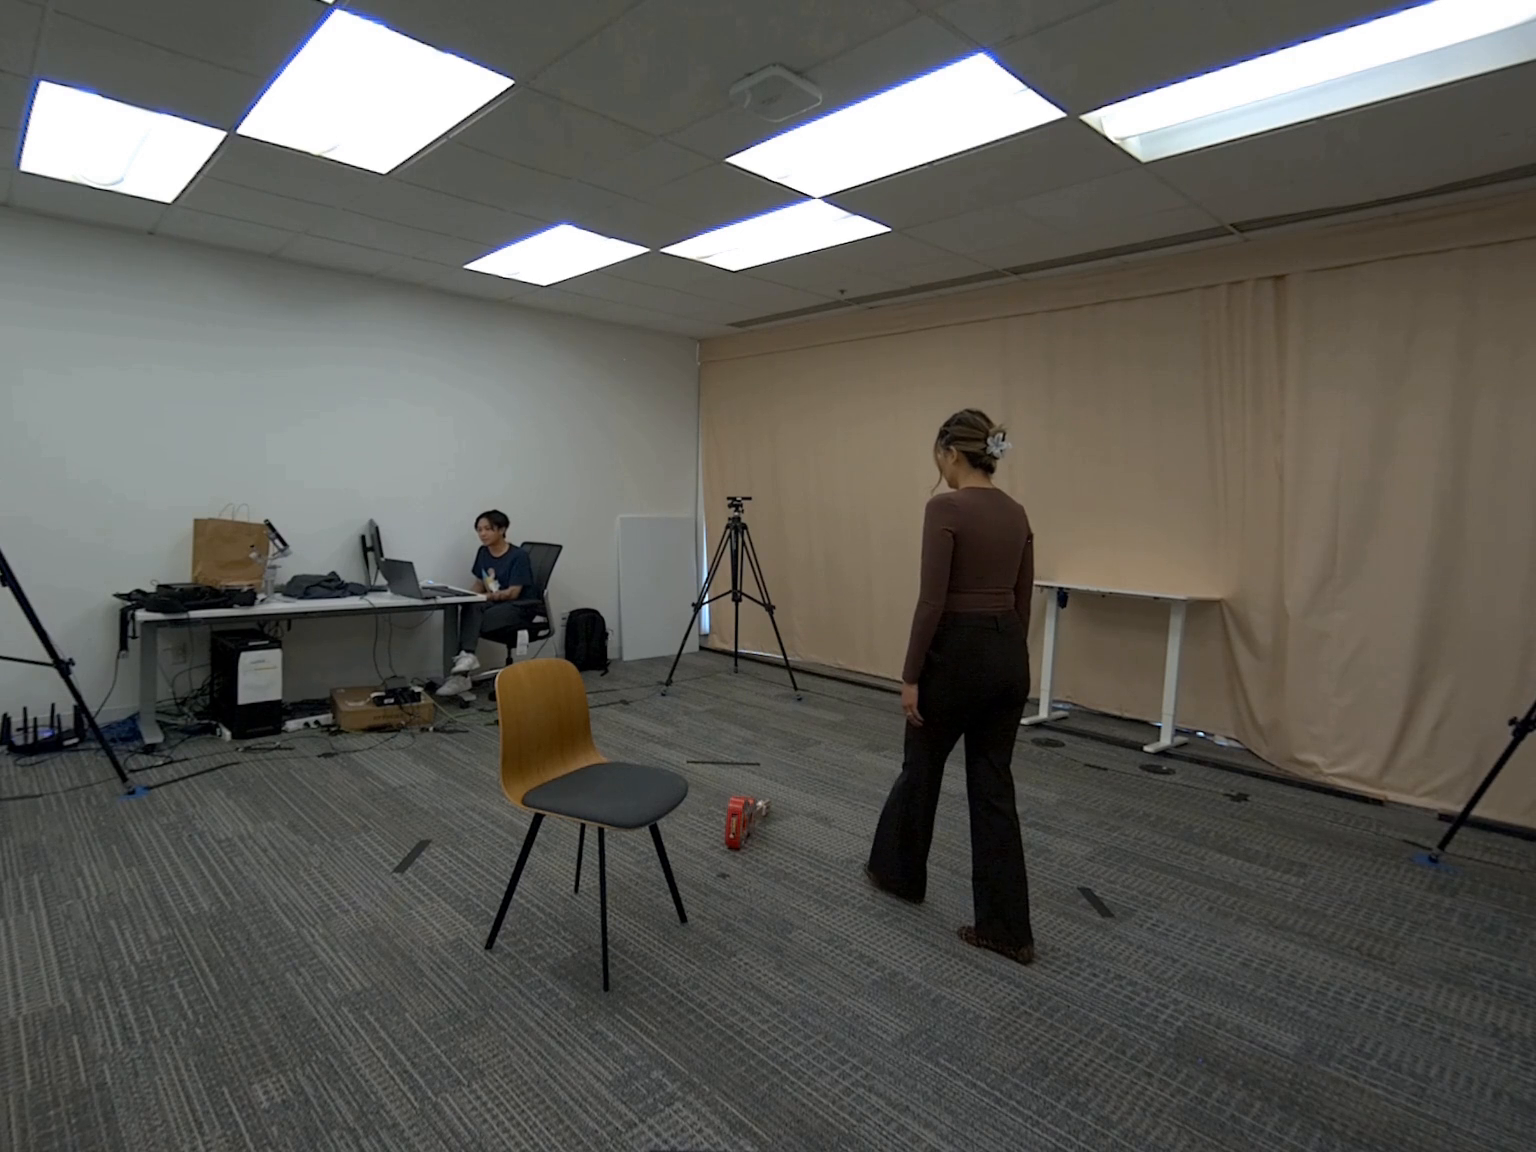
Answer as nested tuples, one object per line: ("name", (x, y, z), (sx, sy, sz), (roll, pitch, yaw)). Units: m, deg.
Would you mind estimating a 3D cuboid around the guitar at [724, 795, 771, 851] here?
("guitar", (-0.087, 1.029, 3.533), (0.071, 0.195, 0.487), (2, -14, 15))
